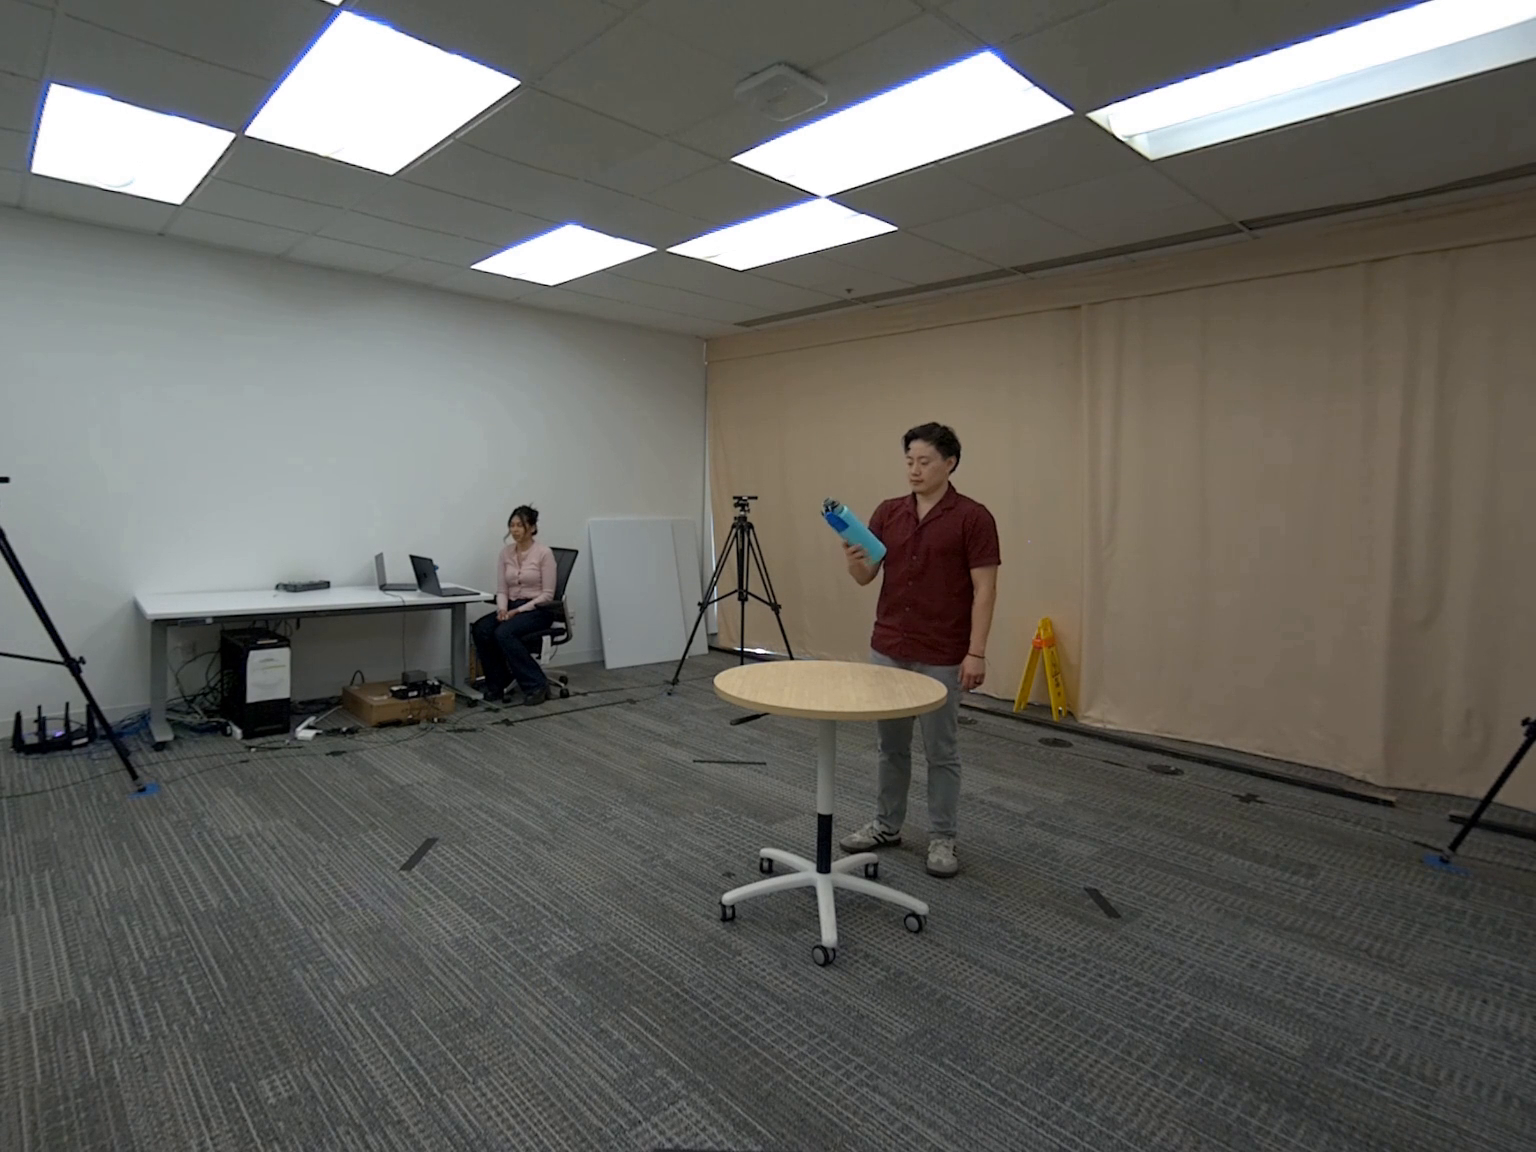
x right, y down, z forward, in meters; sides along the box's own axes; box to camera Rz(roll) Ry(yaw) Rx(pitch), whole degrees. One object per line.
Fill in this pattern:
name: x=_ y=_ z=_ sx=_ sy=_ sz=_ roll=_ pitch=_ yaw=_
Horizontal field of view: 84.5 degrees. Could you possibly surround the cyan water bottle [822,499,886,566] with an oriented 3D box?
cyan water bottle: x=0.297 y=-0.154 z=2.989 sx=0.278 sy=0.092 sz=0.094 roll=45 pitch=-11 yaw=-16
